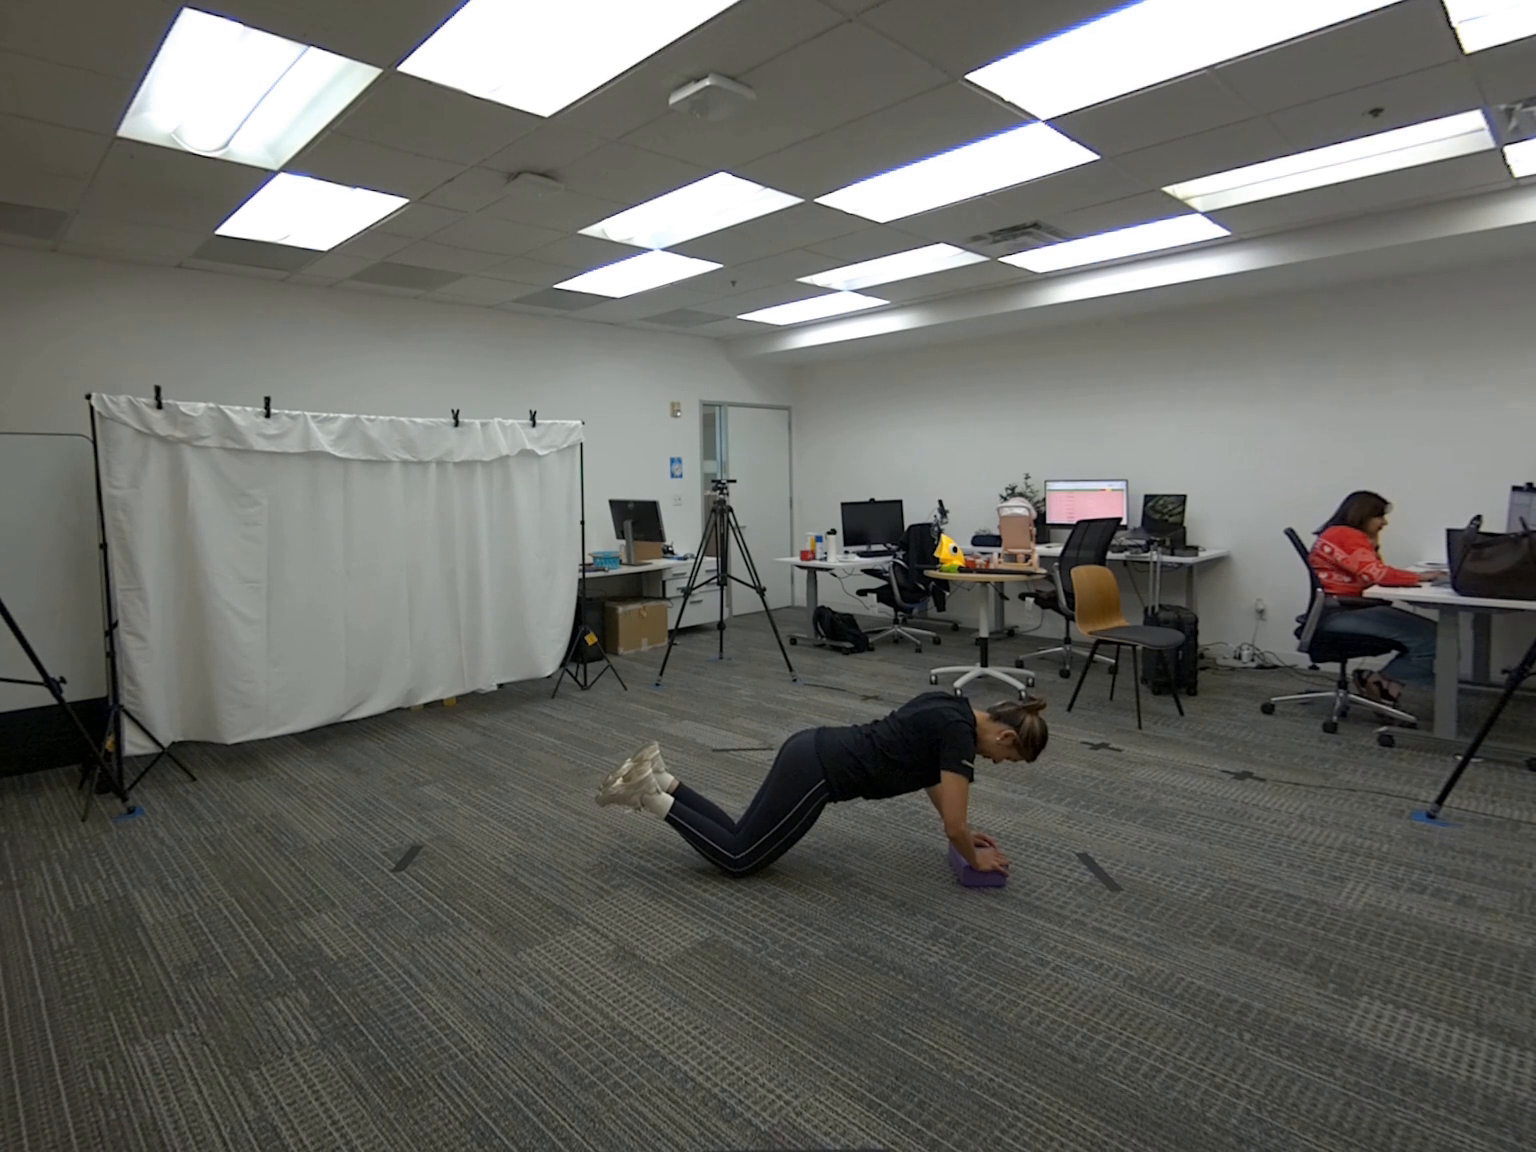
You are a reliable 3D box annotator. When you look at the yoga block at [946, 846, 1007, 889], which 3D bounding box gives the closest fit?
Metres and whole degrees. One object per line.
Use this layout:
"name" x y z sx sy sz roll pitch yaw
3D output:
"yoga block" 0.728 0.996 3.001 0.149 0.076 0.230 3 5 -1
